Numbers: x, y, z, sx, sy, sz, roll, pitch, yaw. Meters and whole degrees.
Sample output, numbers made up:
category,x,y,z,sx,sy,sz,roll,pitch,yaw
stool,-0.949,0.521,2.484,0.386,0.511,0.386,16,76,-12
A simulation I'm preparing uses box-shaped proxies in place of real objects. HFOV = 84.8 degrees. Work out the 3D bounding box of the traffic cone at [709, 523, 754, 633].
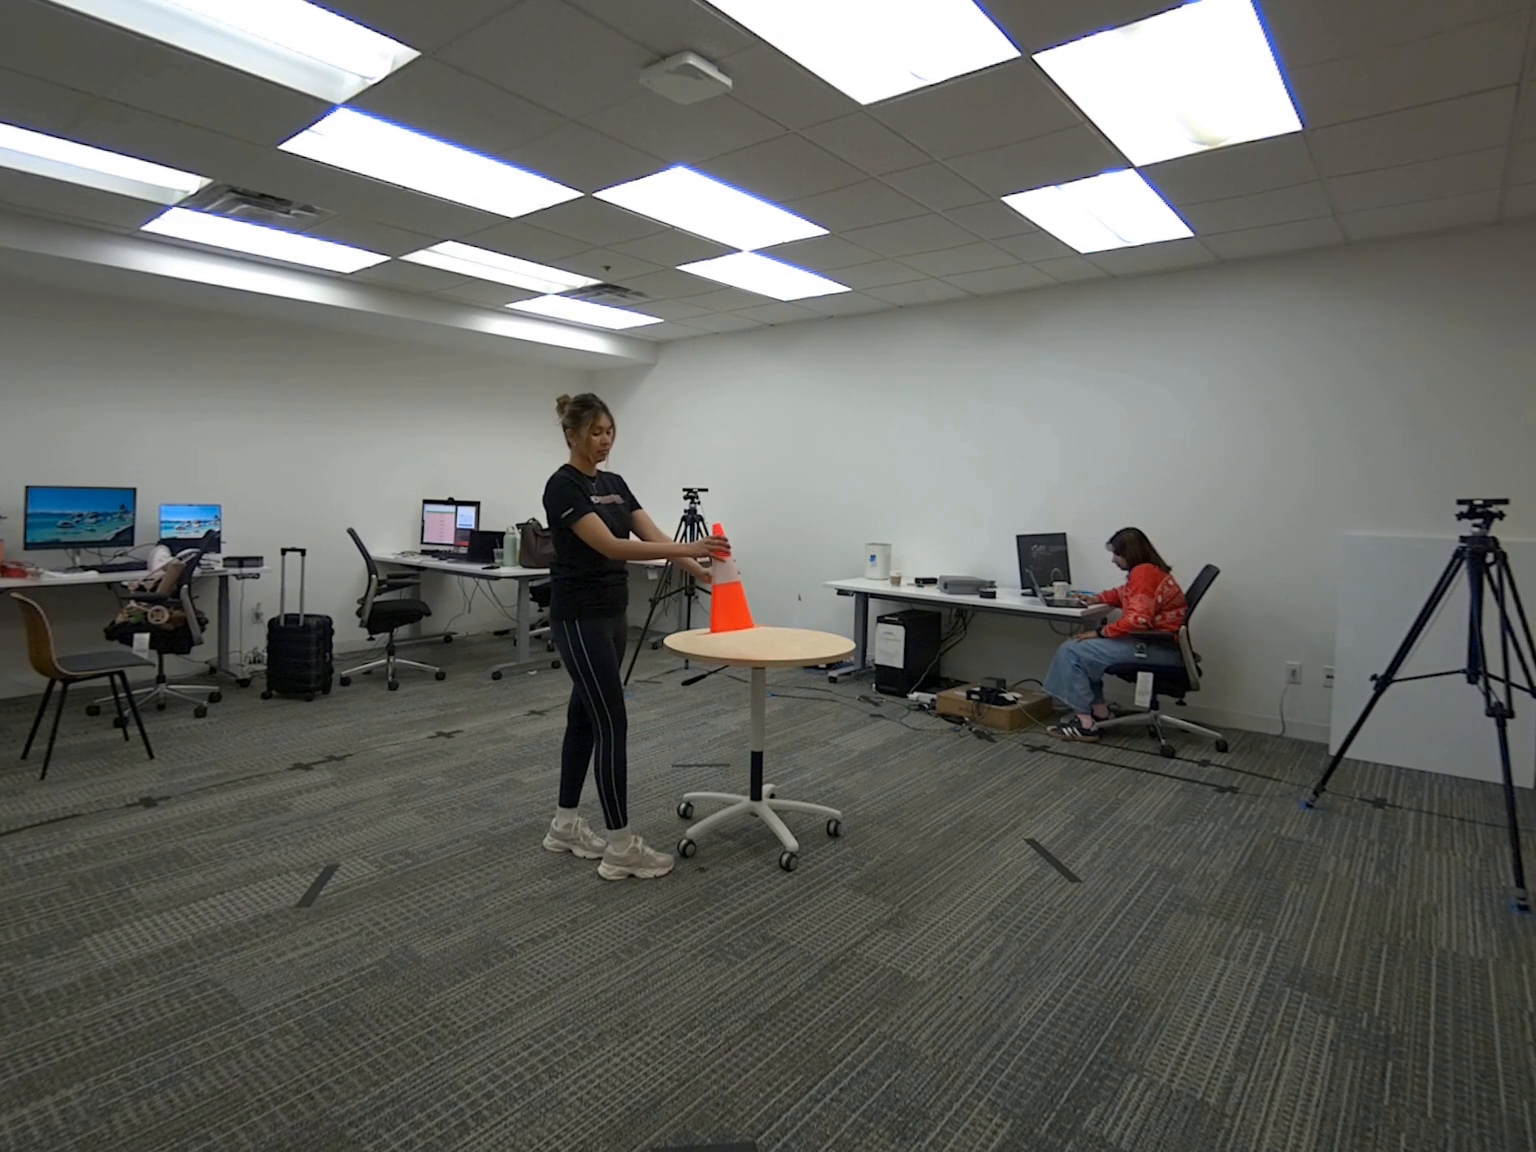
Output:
category,x,y,z,sx,sy,sz,roll,pitch,yaw
traffic cone,-0.166,0.002,3.002,0.200,0.384,0.208,-7,-2,-30
